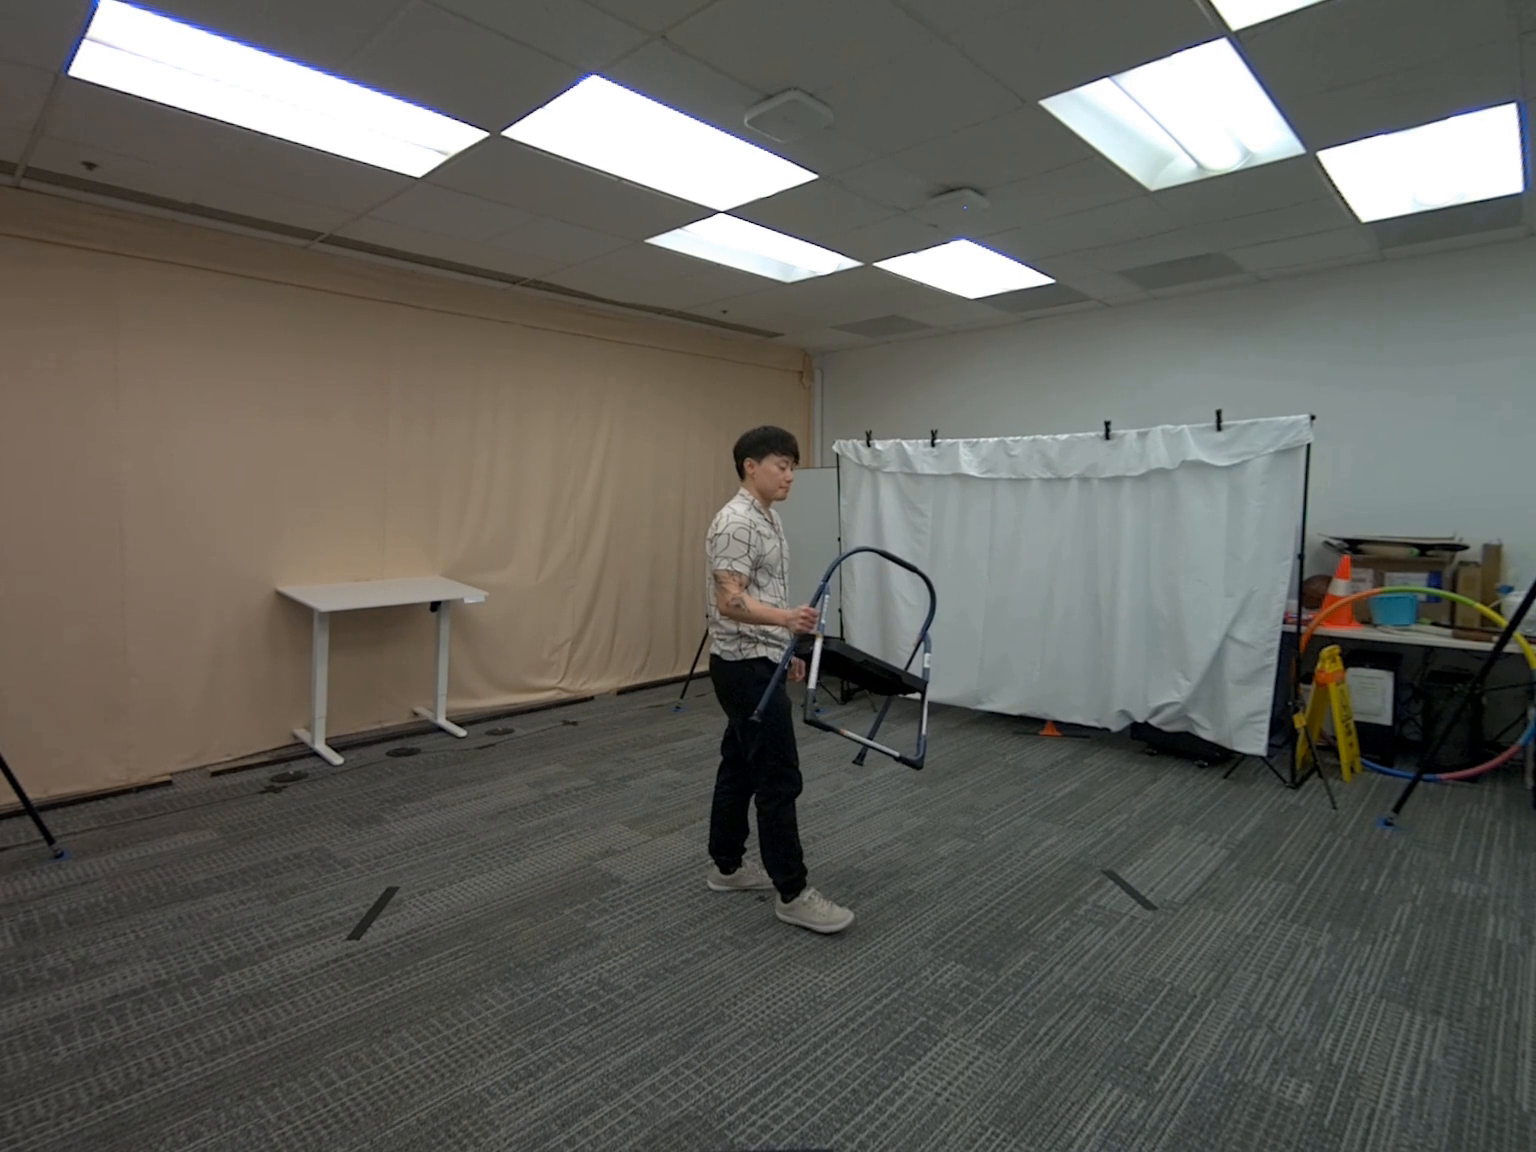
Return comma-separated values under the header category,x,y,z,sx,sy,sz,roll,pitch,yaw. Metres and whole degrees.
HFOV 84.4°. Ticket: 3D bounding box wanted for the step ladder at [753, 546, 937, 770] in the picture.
category,x,y,z,sx,sy,sz,roll,pitch,yaw
step ladder,0.291,0.233,2.599,0.420,0.609,0.356,24,-19,-21
